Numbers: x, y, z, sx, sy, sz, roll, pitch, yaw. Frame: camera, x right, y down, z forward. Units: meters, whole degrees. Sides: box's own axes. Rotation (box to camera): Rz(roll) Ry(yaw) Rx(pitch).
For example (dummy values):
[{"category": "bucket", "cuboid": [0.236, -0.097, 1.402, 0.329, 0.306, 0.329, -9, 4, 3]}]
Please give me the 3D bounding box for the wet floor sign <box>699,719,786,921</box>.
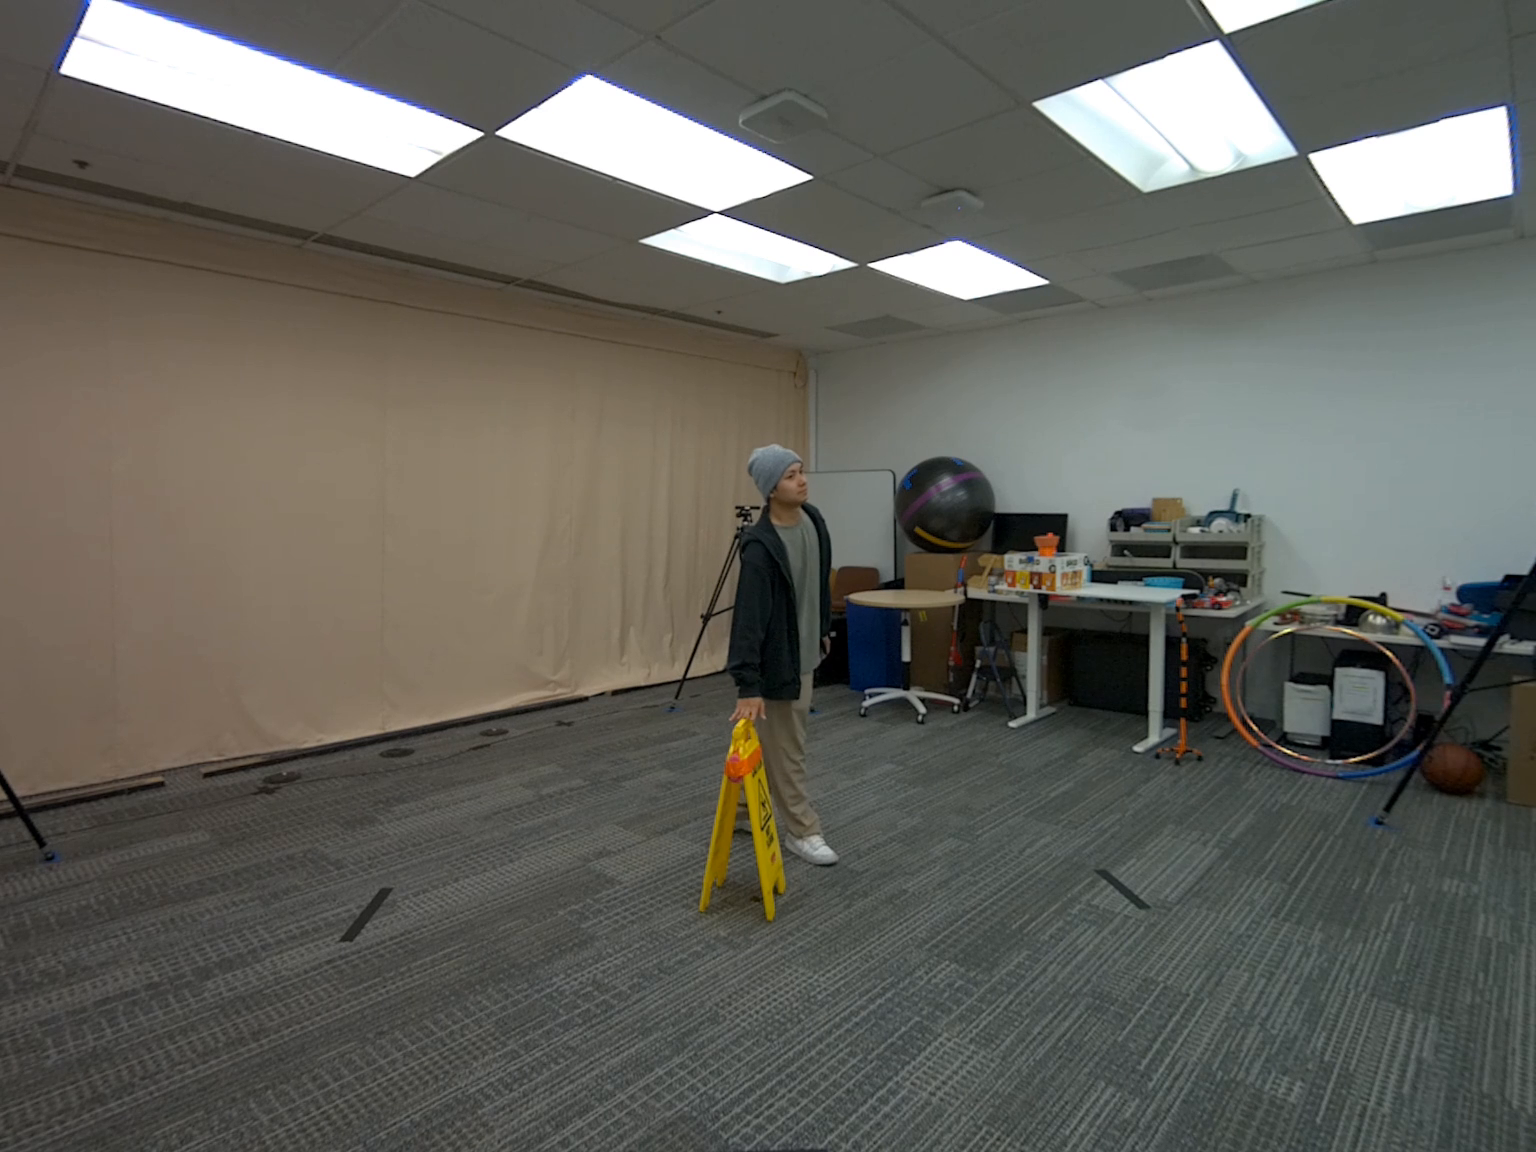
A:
[{"category": "wet floor sign", "cuboid": [-0.086, 0.822, 2.964, 0.294, 0.645, 0.278, -1, 2, 13]}]
